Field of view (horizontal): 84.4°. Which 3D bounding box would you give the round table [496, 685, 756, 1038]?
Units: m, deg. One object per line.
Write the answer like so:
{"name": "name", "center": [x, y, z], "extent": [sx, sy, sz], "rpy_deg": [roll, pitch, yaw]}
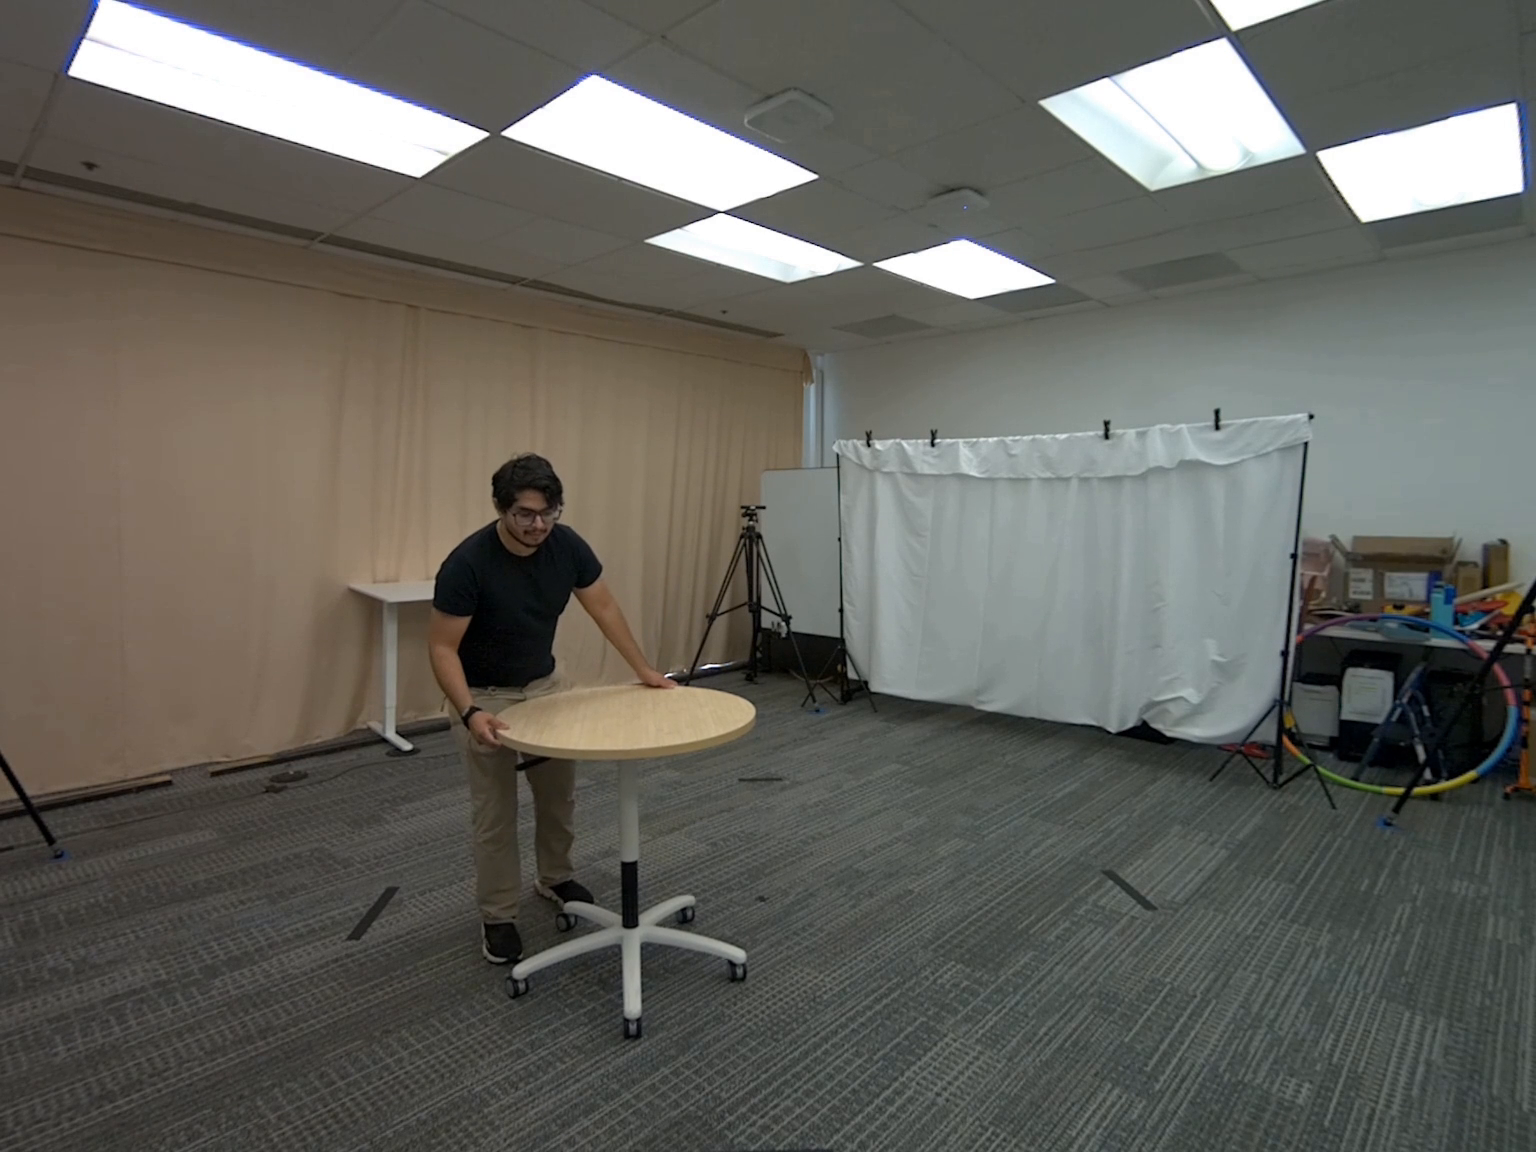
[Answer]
{"name": "round table", "center": [-0.397, 0.792, 2.498], "extent": [0.784, 0.784, 0.788], "rpy_deg": [-1, 4, -2]}
